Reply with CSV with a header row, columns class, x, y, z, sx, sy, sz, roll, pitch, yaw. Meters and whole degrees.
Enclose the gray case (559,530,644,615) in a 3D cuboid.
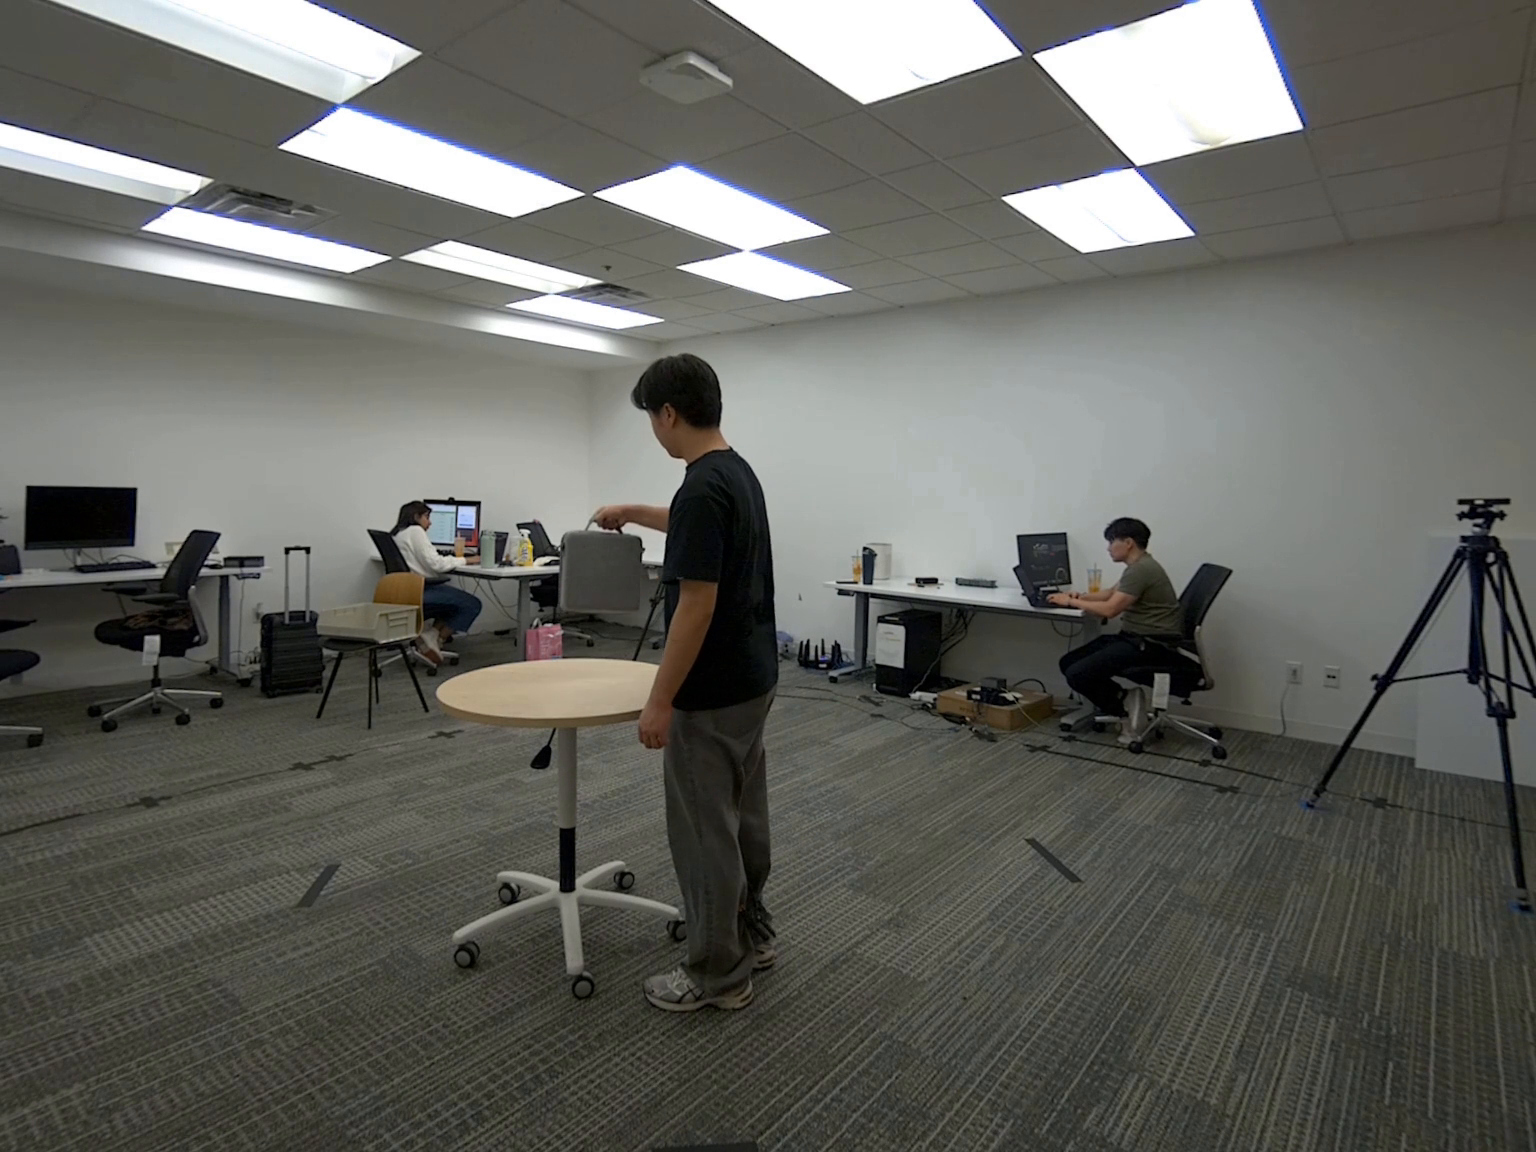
class,x,y,z,sx,sy,sz,roll,pitch,yaw
gray case,-0.536,-0.021,2.696,0.259,0.288,0.104,2,-3,-15
